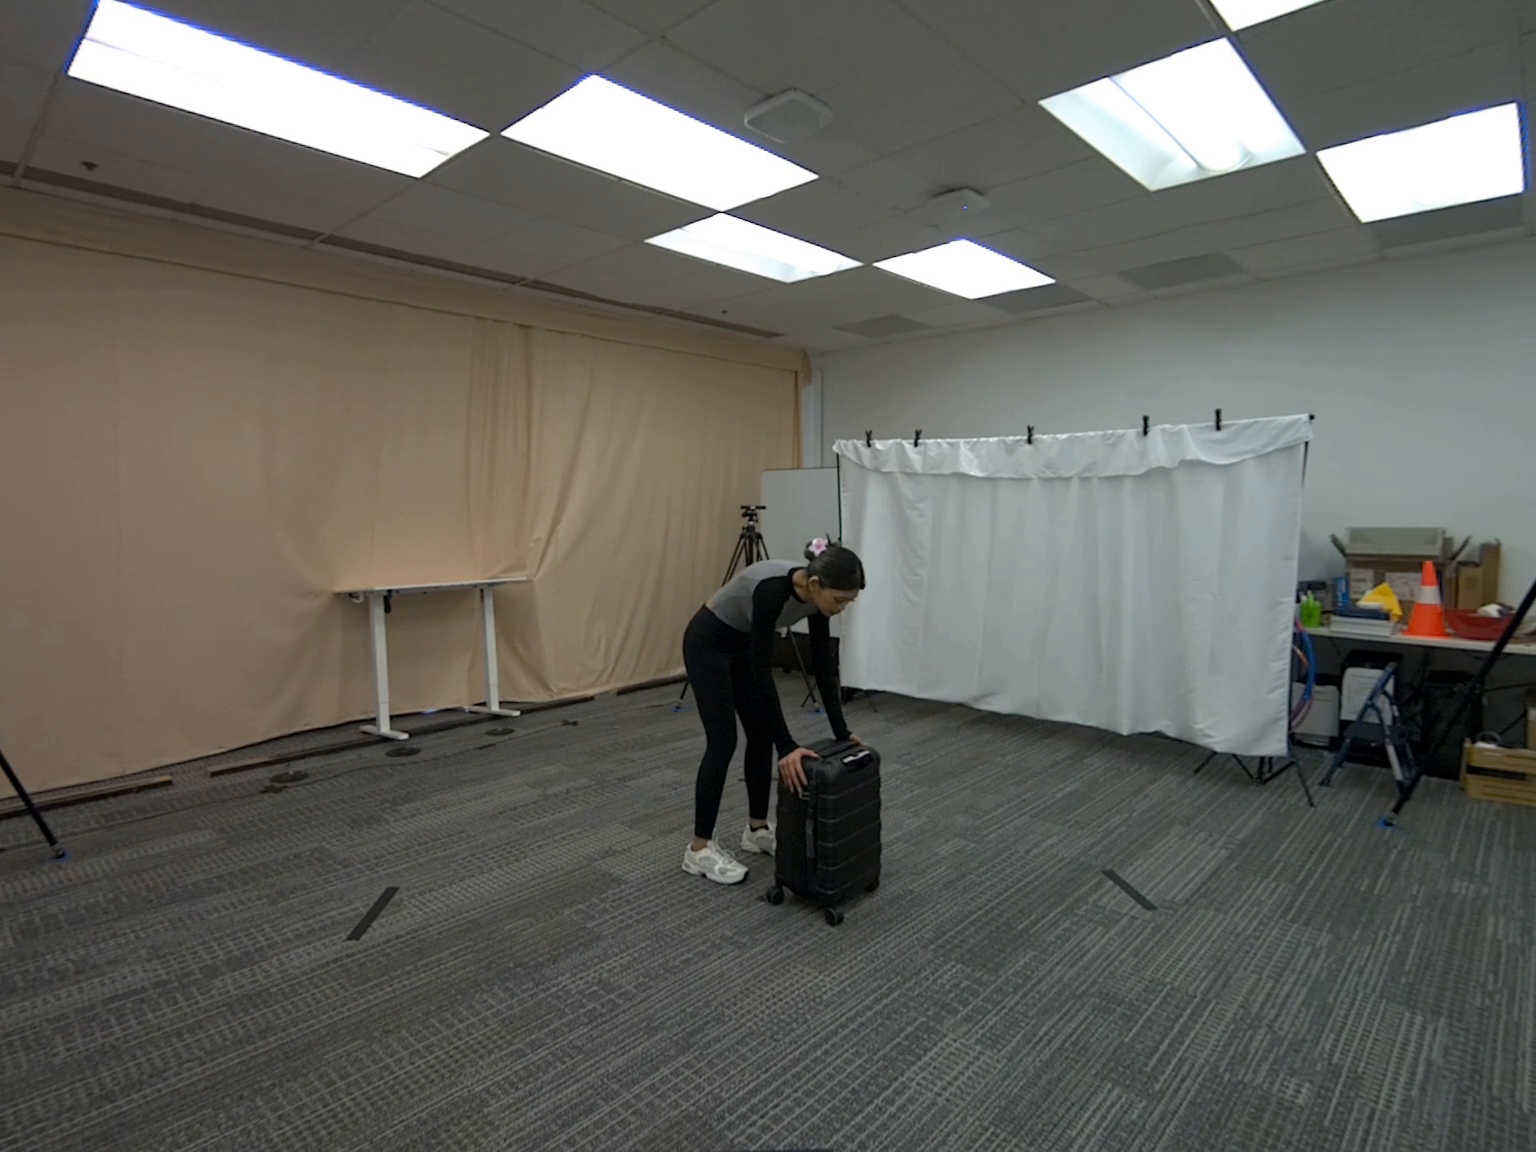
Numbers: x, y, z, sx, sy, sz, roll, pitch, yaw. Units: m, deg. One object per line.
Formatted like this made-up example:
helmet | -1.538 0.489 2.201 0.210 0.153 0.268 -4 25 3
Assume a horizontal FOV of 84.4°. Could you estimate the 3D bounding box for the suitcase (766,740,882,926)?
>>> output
suitcase | 0.218 0.869 2.978 0.256 0.548 0.364 4 5 39
